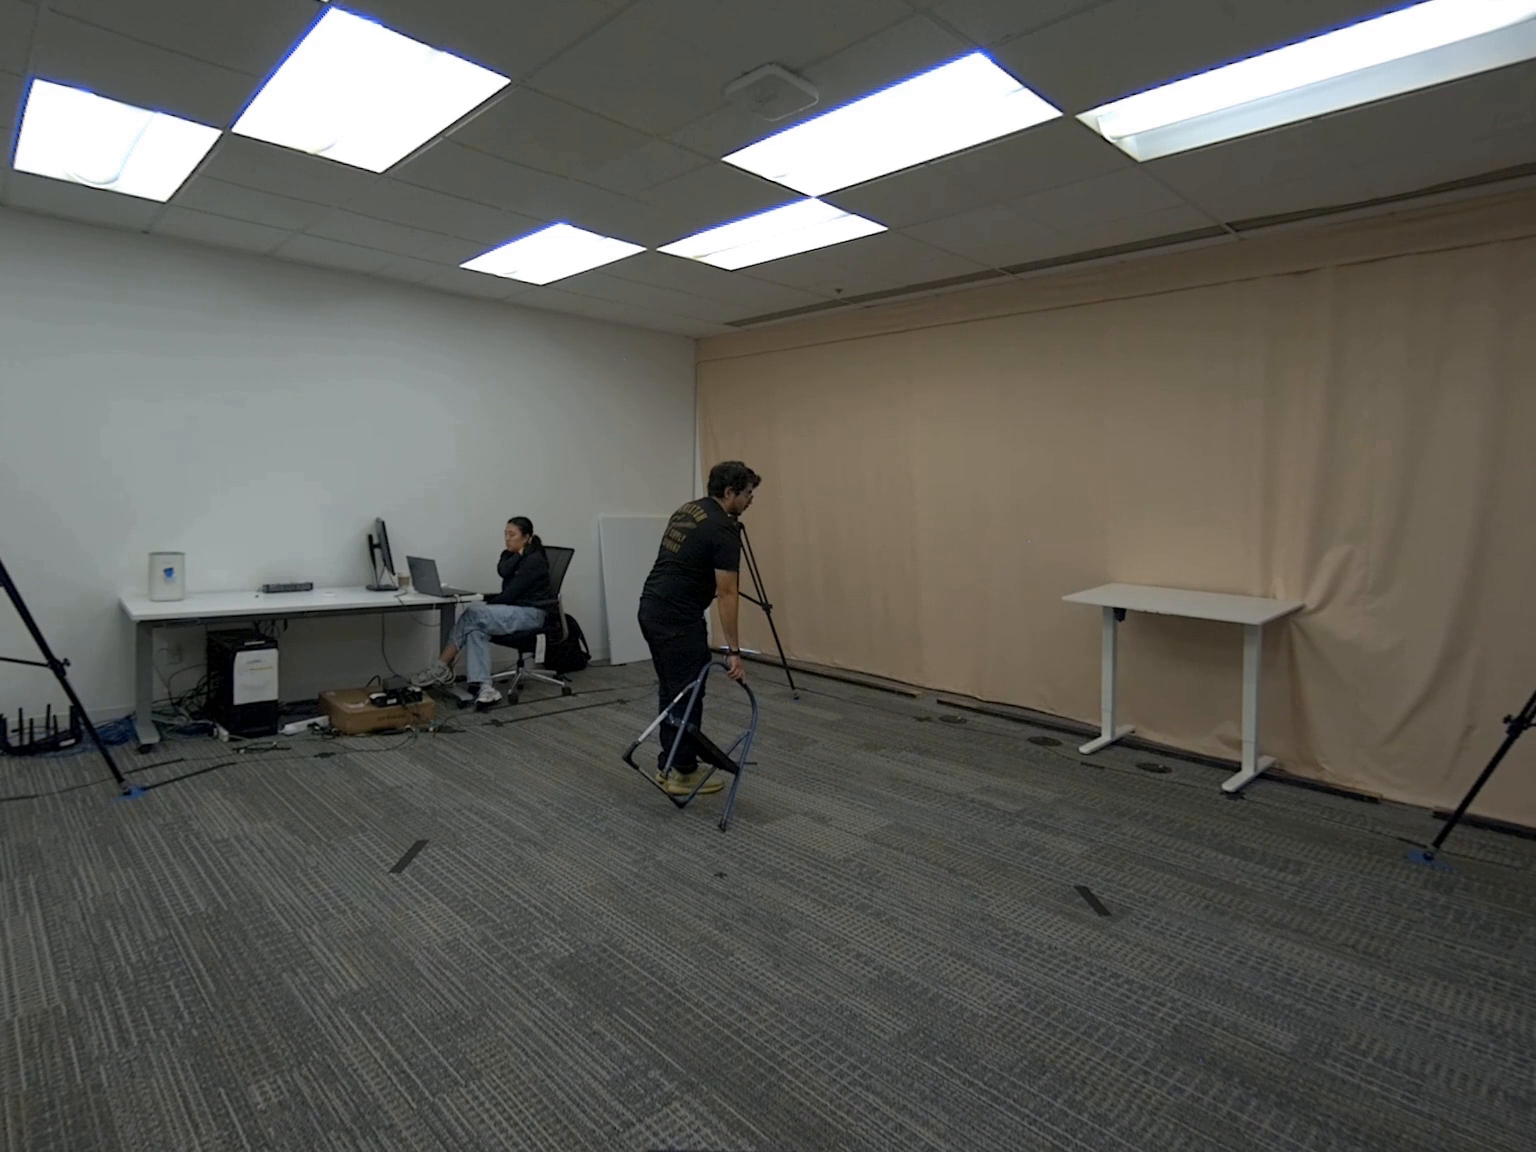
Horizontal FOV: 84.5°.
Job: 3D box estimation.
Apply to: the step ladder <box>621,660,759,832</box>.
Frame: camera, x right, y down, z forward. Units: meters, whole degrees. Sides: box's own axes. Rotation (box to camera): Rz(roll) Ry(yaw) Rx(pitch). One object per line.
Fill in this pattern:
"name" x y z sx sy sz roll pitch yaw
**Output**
"step ladder" -0.254 0.690 3.667 0.358 0.608 0.419 5 -38 51
